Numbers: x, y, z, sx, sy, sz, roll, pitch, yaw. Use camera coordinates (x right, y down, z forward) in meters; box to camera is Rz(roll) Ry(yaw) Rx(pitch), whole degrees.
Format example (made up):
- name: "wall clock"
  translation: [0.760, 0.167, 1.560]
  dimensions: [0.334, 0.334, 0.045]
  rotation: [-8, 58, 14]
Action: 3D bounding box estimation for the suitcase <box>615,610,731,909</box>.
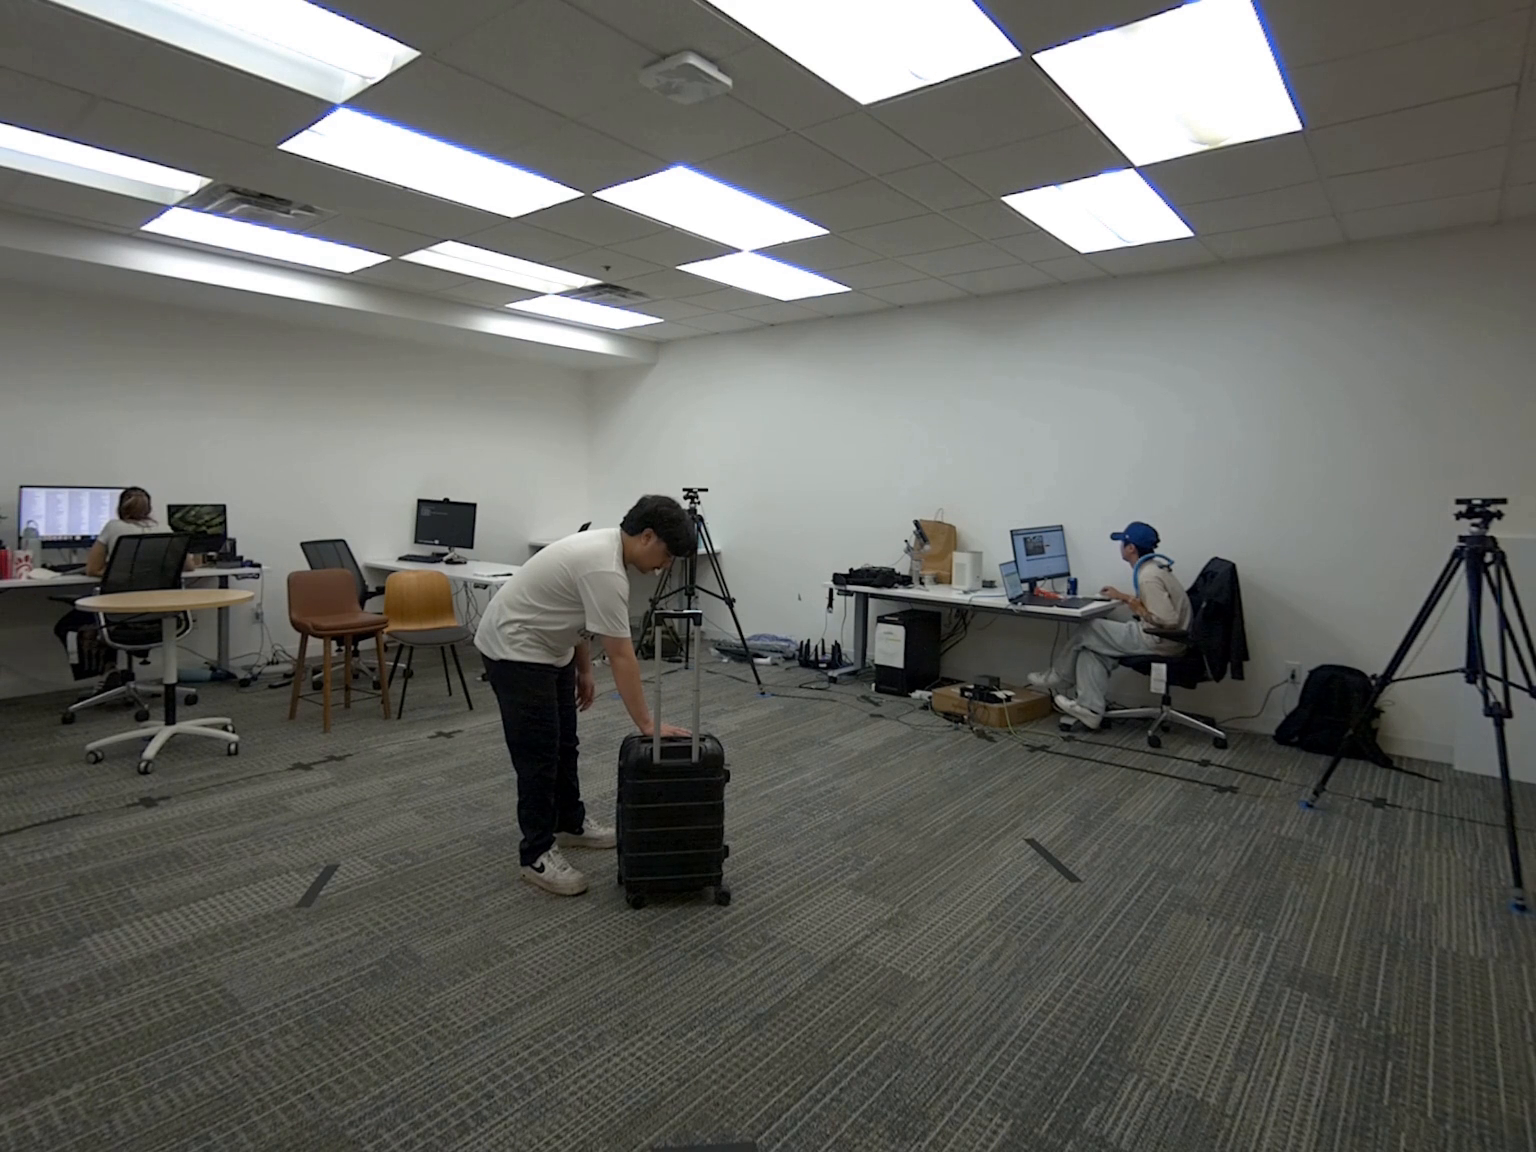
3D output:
- name: "suitcase"
  translation: [-0.341, 0.612, 2.917]
  dimensions: [0.380, 0.979, 0.259]
  rotation: [0, -1, -10]
